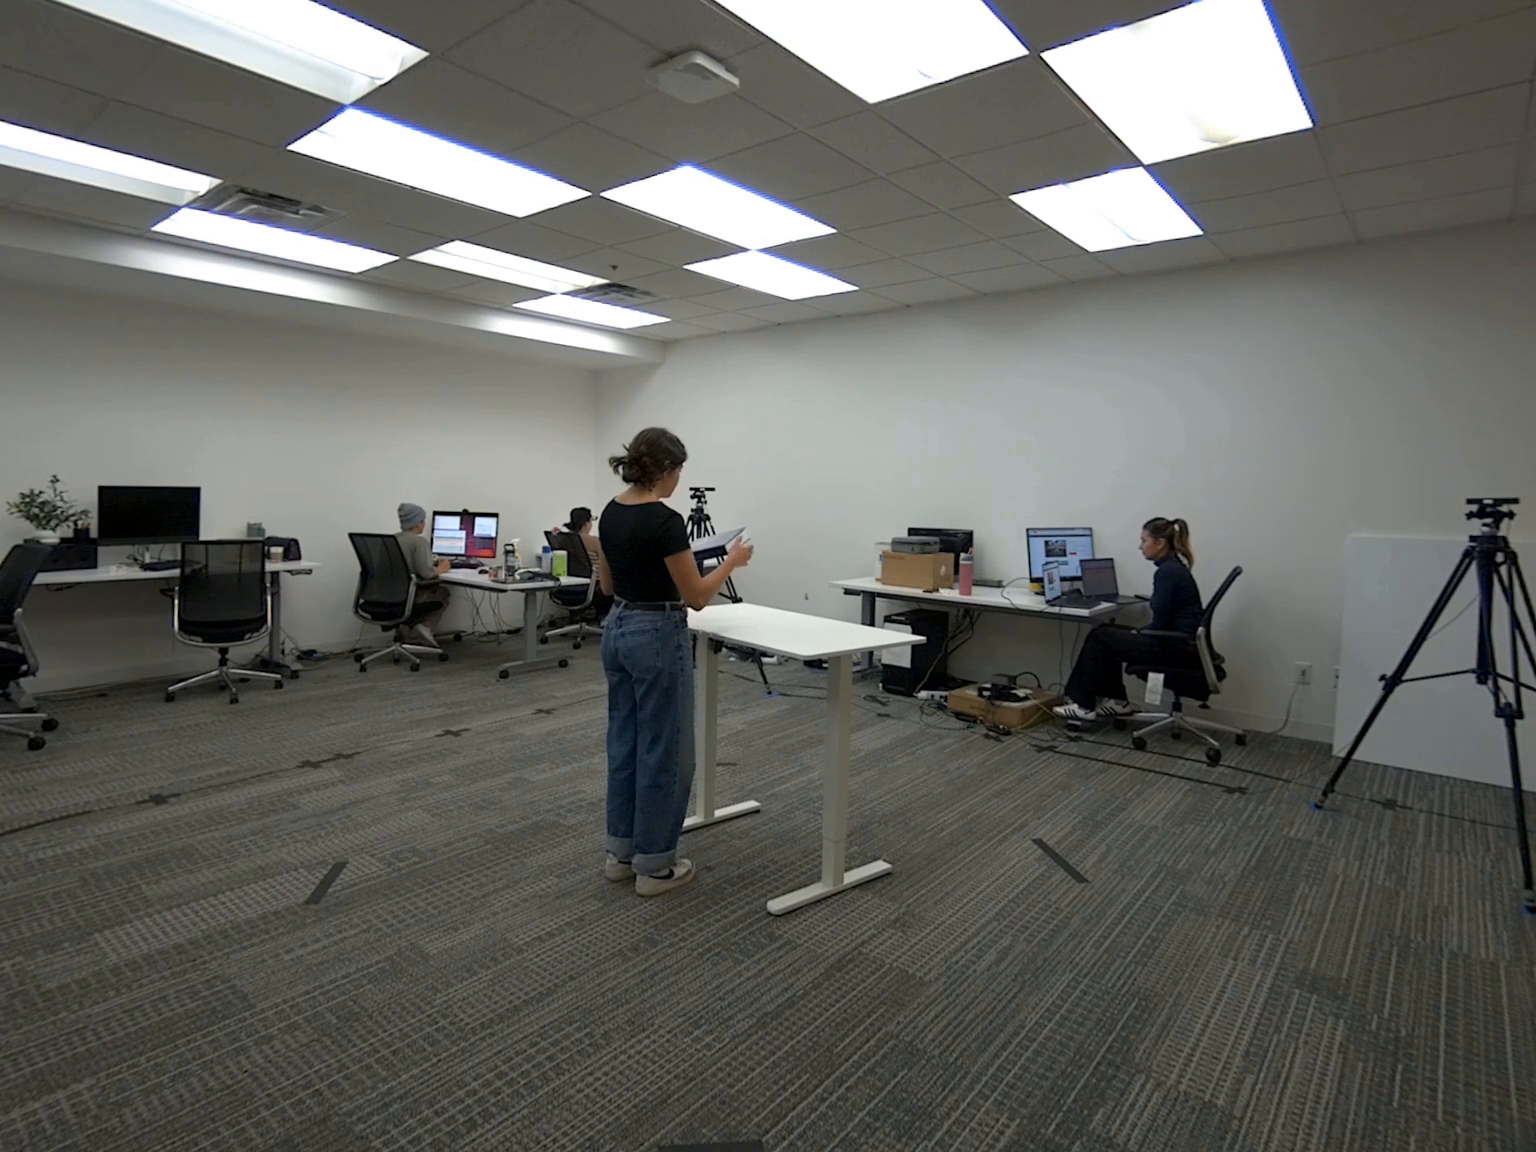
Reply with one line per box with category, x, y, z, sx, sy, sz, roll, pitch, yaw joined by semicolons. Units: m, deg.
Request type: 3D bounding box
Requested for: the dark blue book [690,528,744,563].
dark blue book;-0.214;-0.107;3.170;0.251;0.044;0.162;-12;16;34
